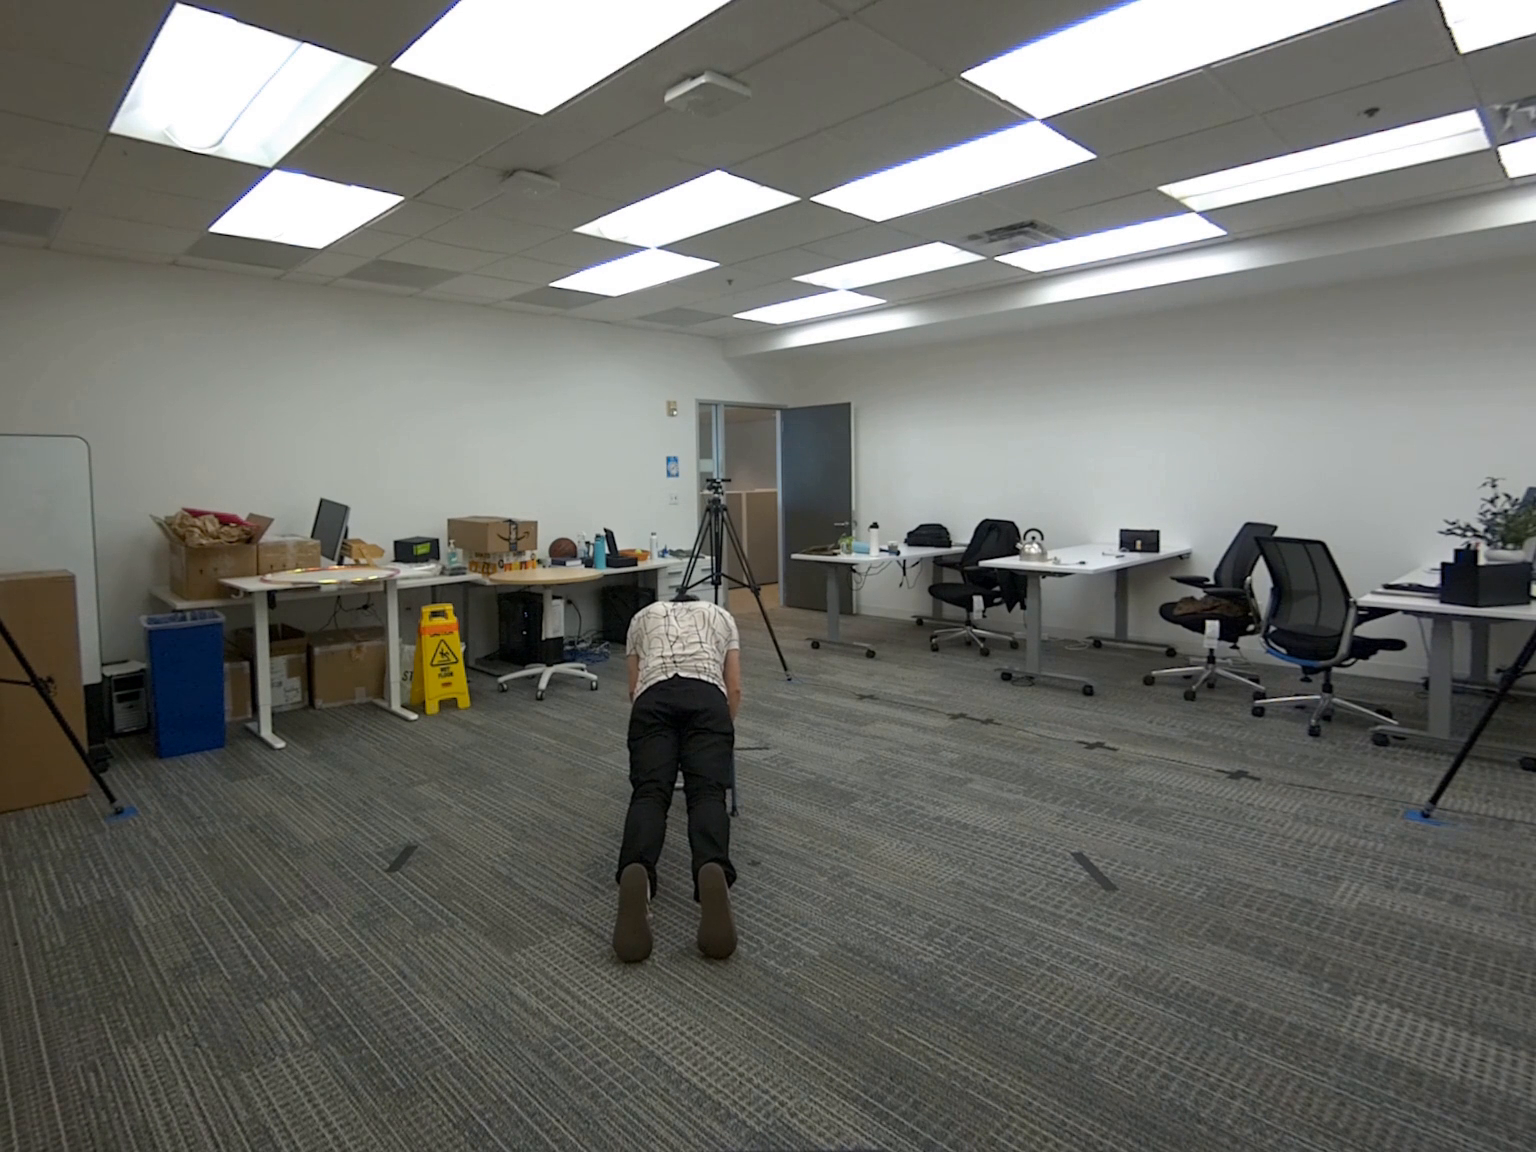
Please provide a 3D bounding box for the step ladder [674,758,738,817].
[{"bbox_3d":[-0.349,0.686,3.699,0.430,0.604,0.351,-1,4,-3],"label":"step ladder"}]
